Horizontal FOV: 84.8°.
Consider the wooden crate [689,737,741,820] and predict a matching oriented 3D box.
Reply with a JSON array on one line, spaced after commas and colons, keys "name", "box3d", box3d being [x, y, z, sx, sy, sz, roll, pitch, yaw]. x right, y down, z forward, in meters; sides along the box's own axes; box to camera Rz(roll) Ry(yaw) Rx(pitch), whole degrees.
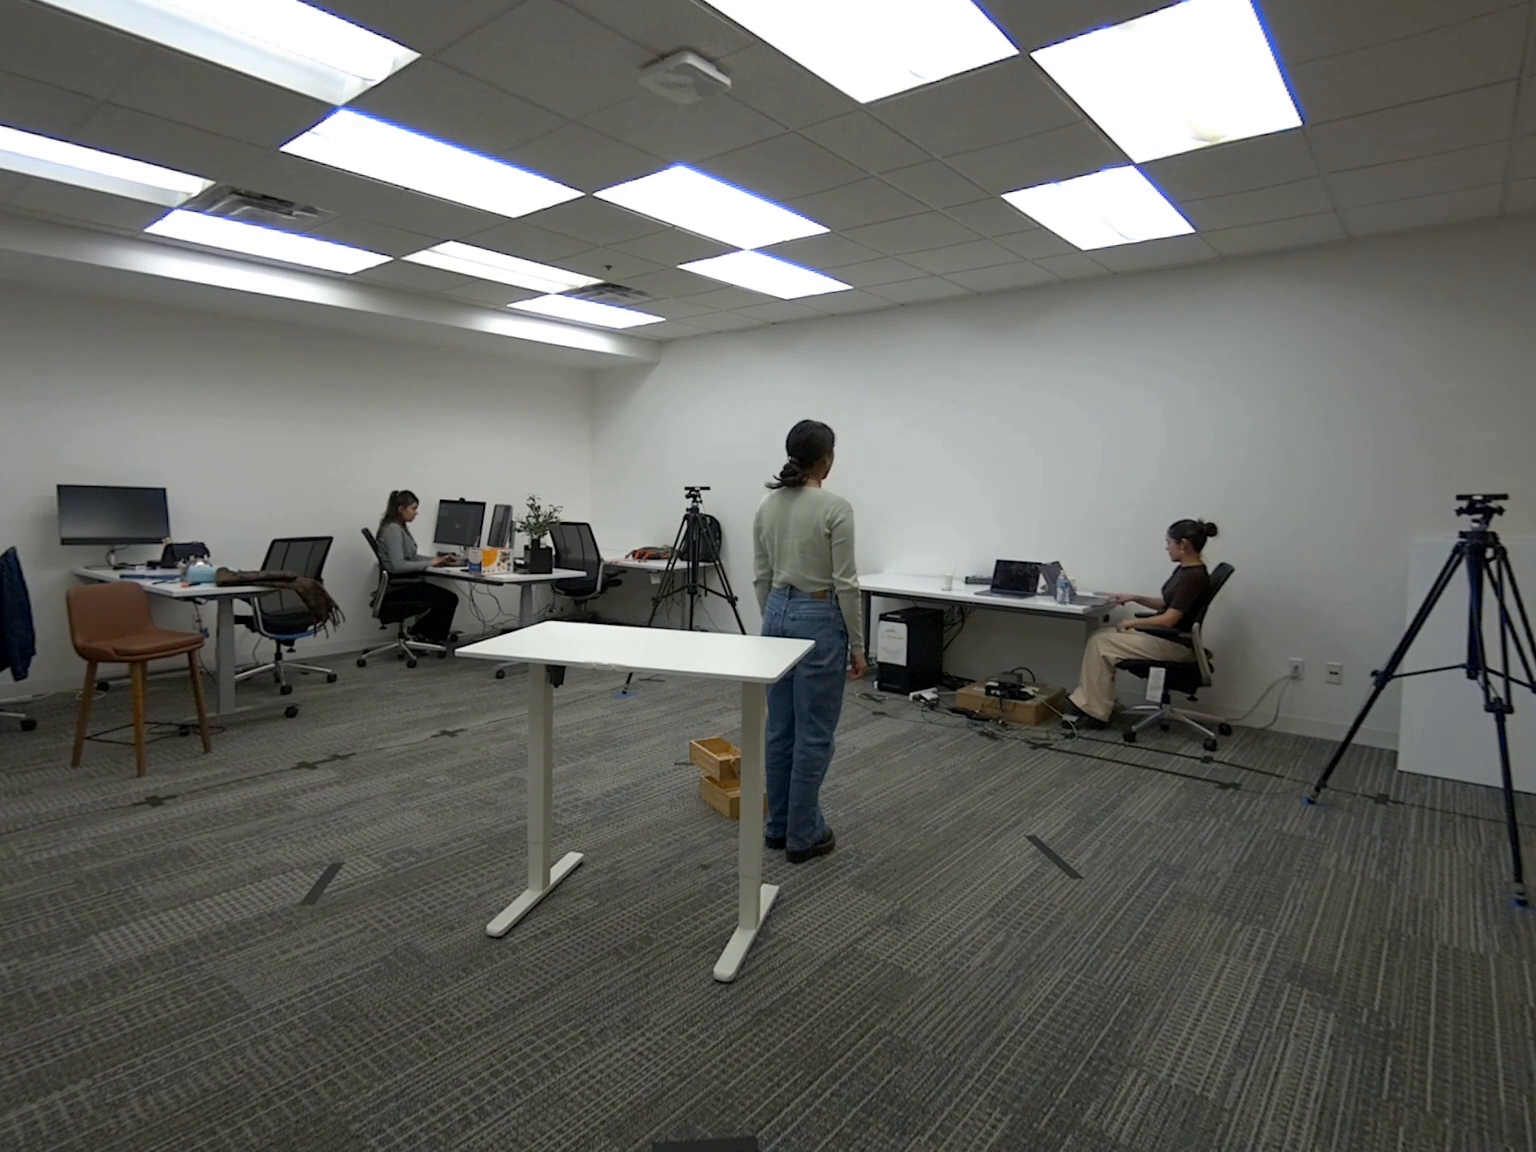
[{"name": "wooden crate", "box3d": [-0.155, 0.868, 3.747, 0.294, 0.272, 0.334, -2, 5, -28]}]
